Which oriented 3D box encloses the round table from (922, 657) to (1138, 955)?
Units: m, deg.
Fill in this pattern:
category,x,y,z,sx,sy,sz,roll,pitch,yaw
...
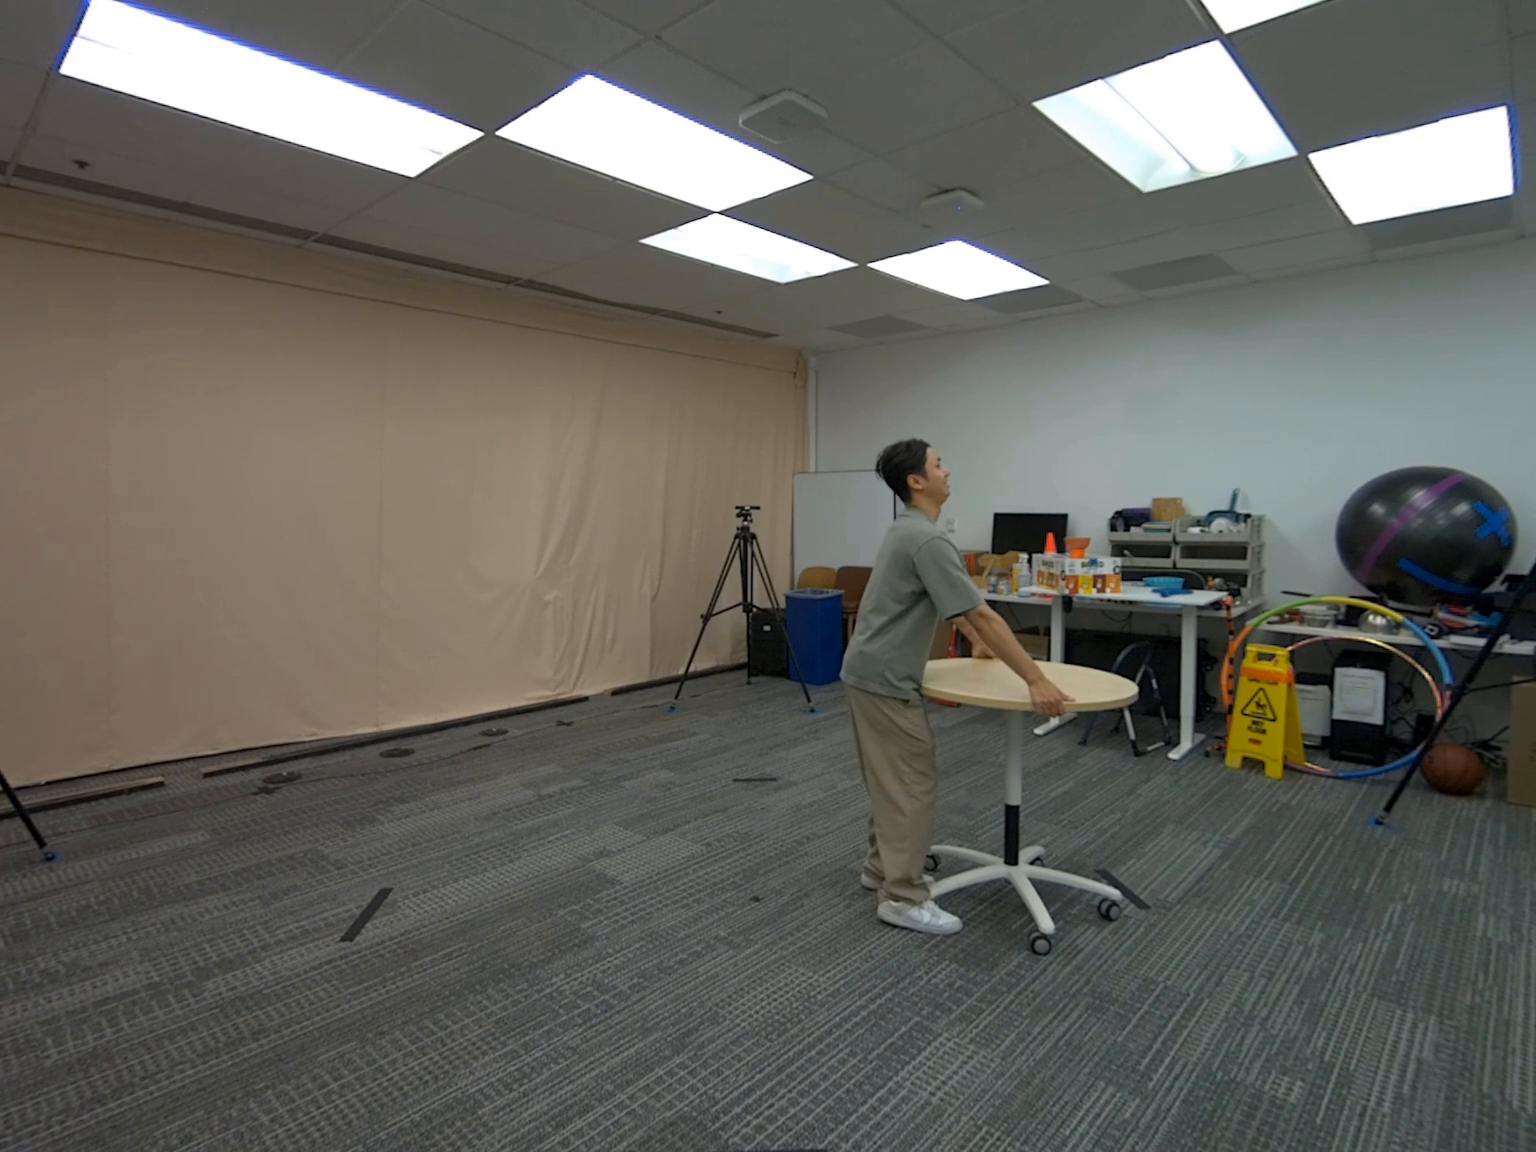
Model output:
category,x,y,z,sx,sy,sz,roll,pitch,yaw
round table,0.851,0.744,2.921,0.784,0.785,0.787,0,3,-2
